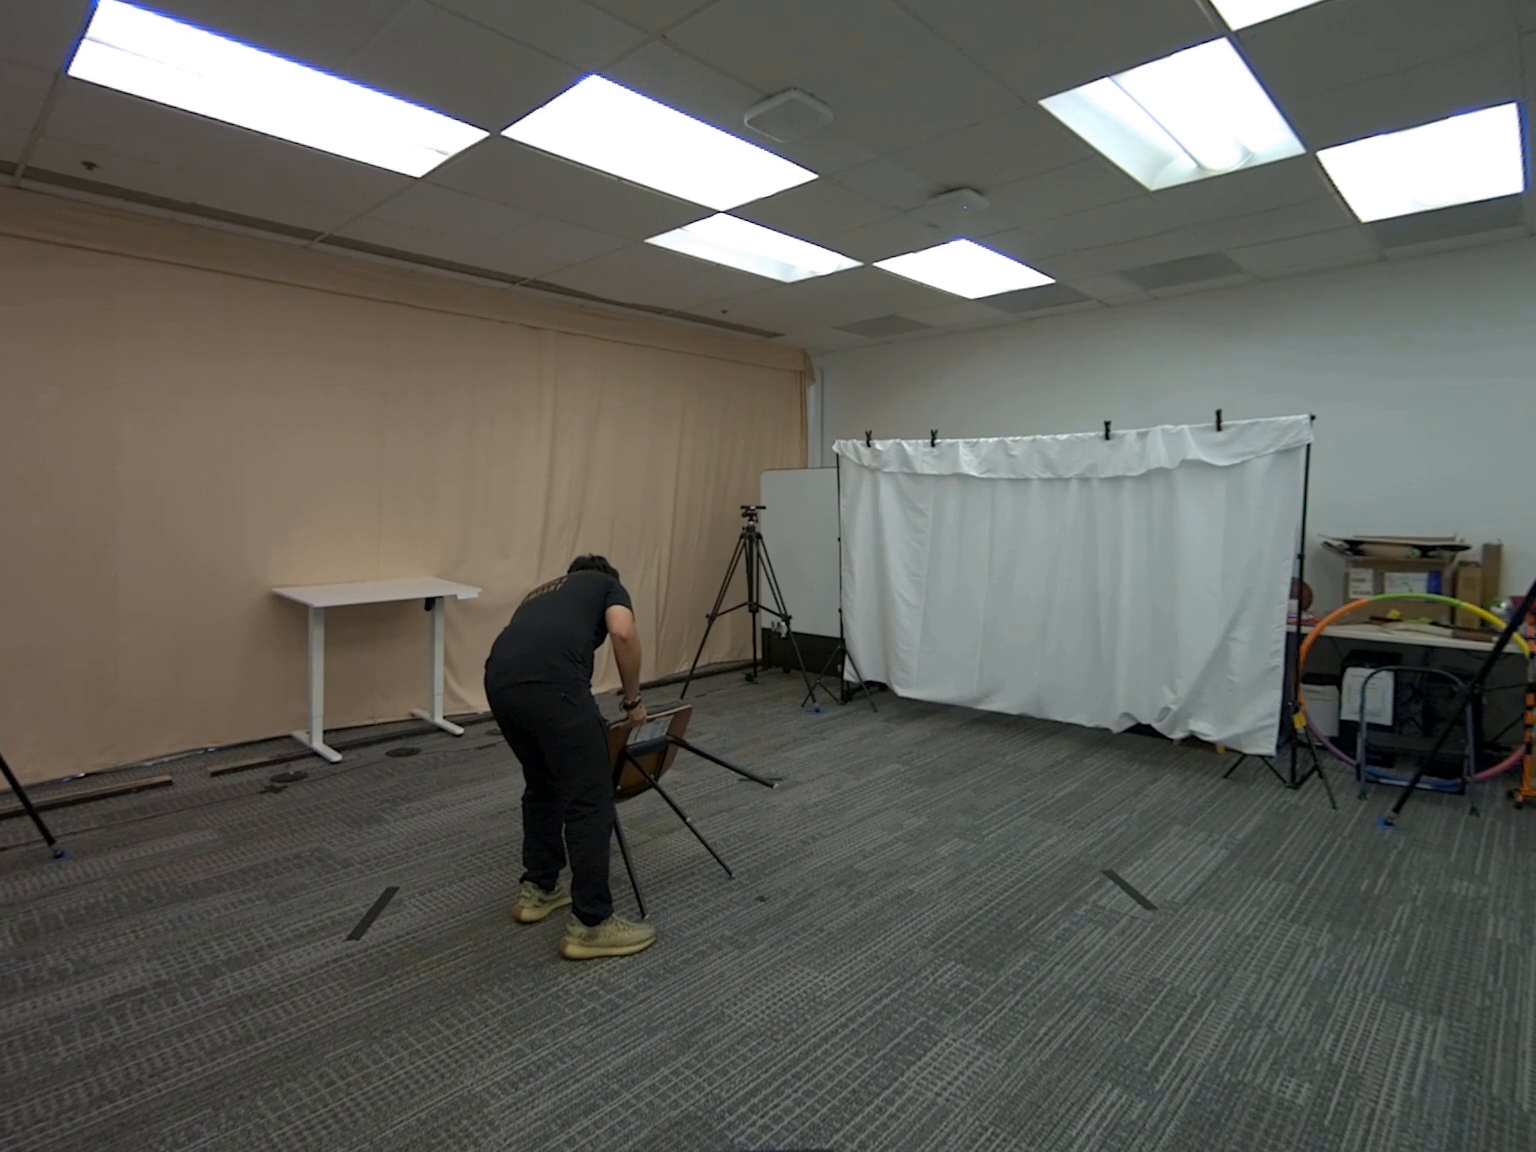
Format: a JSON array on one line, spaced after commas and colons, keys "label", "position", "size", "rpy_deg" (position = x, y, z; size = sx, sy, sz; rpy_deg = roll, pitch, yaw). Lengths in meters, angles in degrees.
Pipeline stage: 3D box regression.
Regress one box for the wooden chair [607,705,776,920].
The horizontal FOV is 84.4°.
[{"label": "wooden chair", "position": [-0.476, 0.732, 3.161], "size": [0.909, 0.520, 0.464], "rpy_deg": [33, 25, 35]}]
